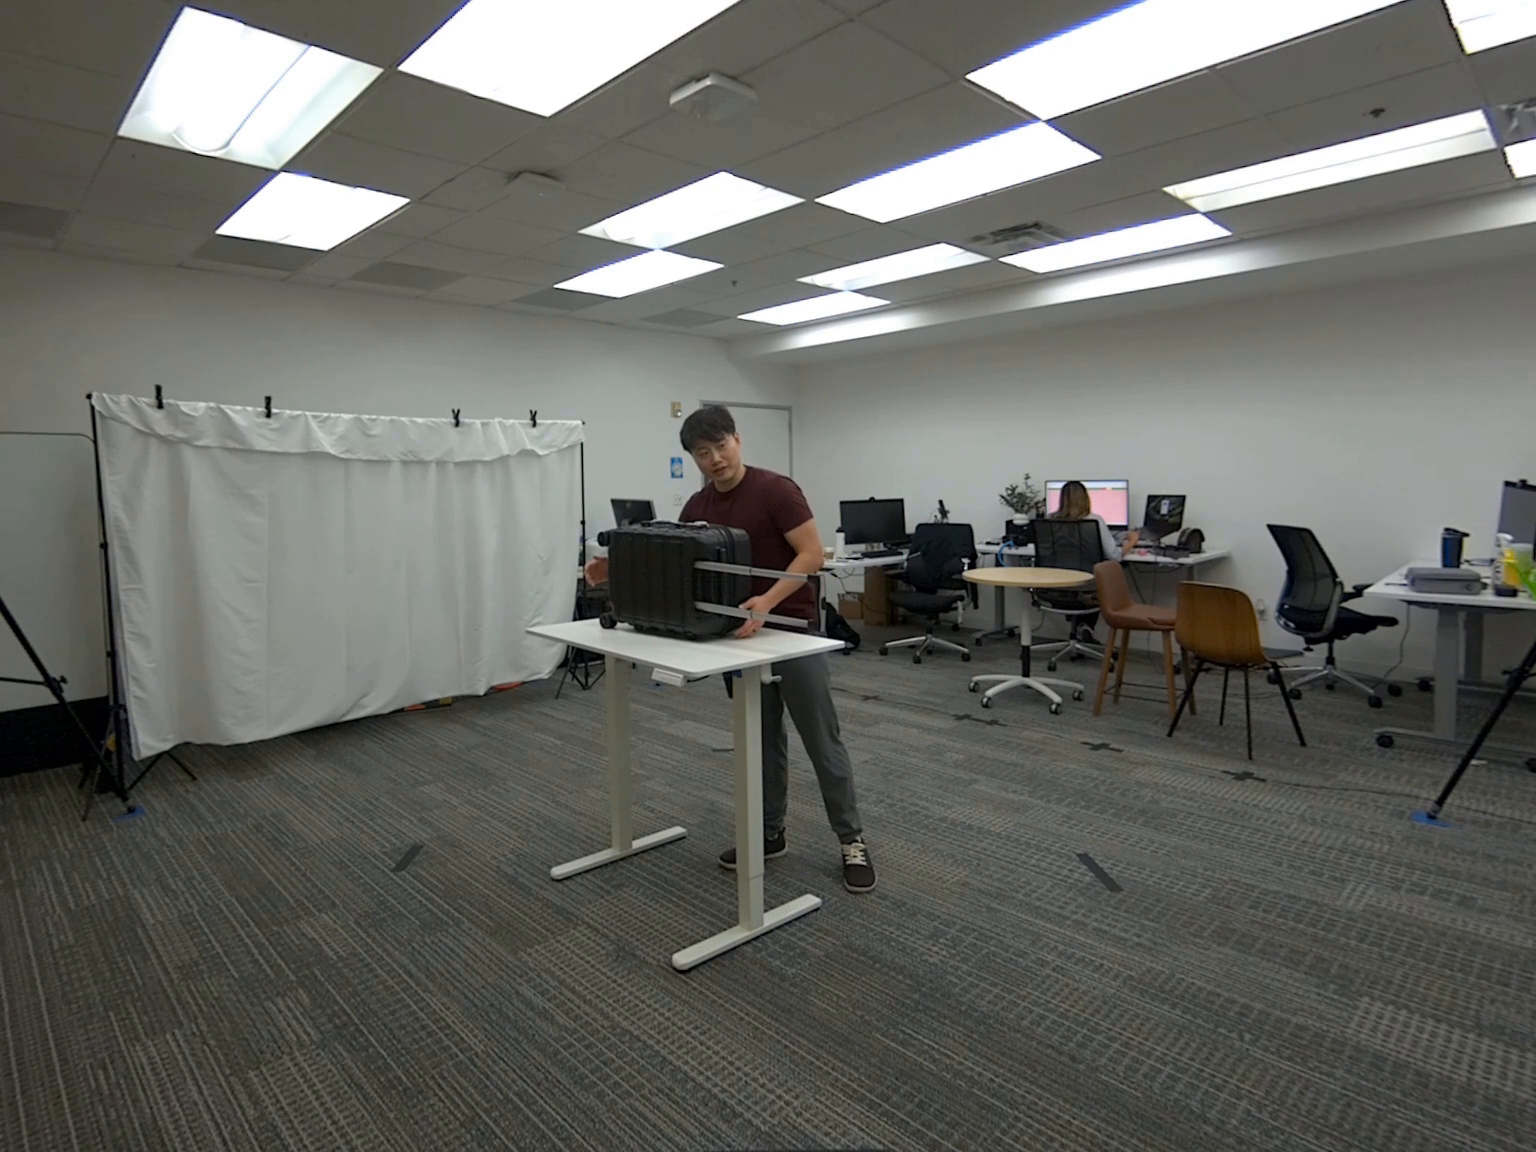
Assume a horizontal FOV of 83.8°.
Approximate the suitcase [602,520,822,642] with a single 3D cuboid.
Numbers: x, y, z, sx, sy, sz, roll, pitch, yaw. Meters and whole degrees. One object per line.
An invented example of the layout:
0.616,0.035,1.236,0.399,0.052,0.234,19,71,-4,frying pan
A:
-0.163,0.024,2.760,1.009,0.383,0.250,4,5,44,suitcase
